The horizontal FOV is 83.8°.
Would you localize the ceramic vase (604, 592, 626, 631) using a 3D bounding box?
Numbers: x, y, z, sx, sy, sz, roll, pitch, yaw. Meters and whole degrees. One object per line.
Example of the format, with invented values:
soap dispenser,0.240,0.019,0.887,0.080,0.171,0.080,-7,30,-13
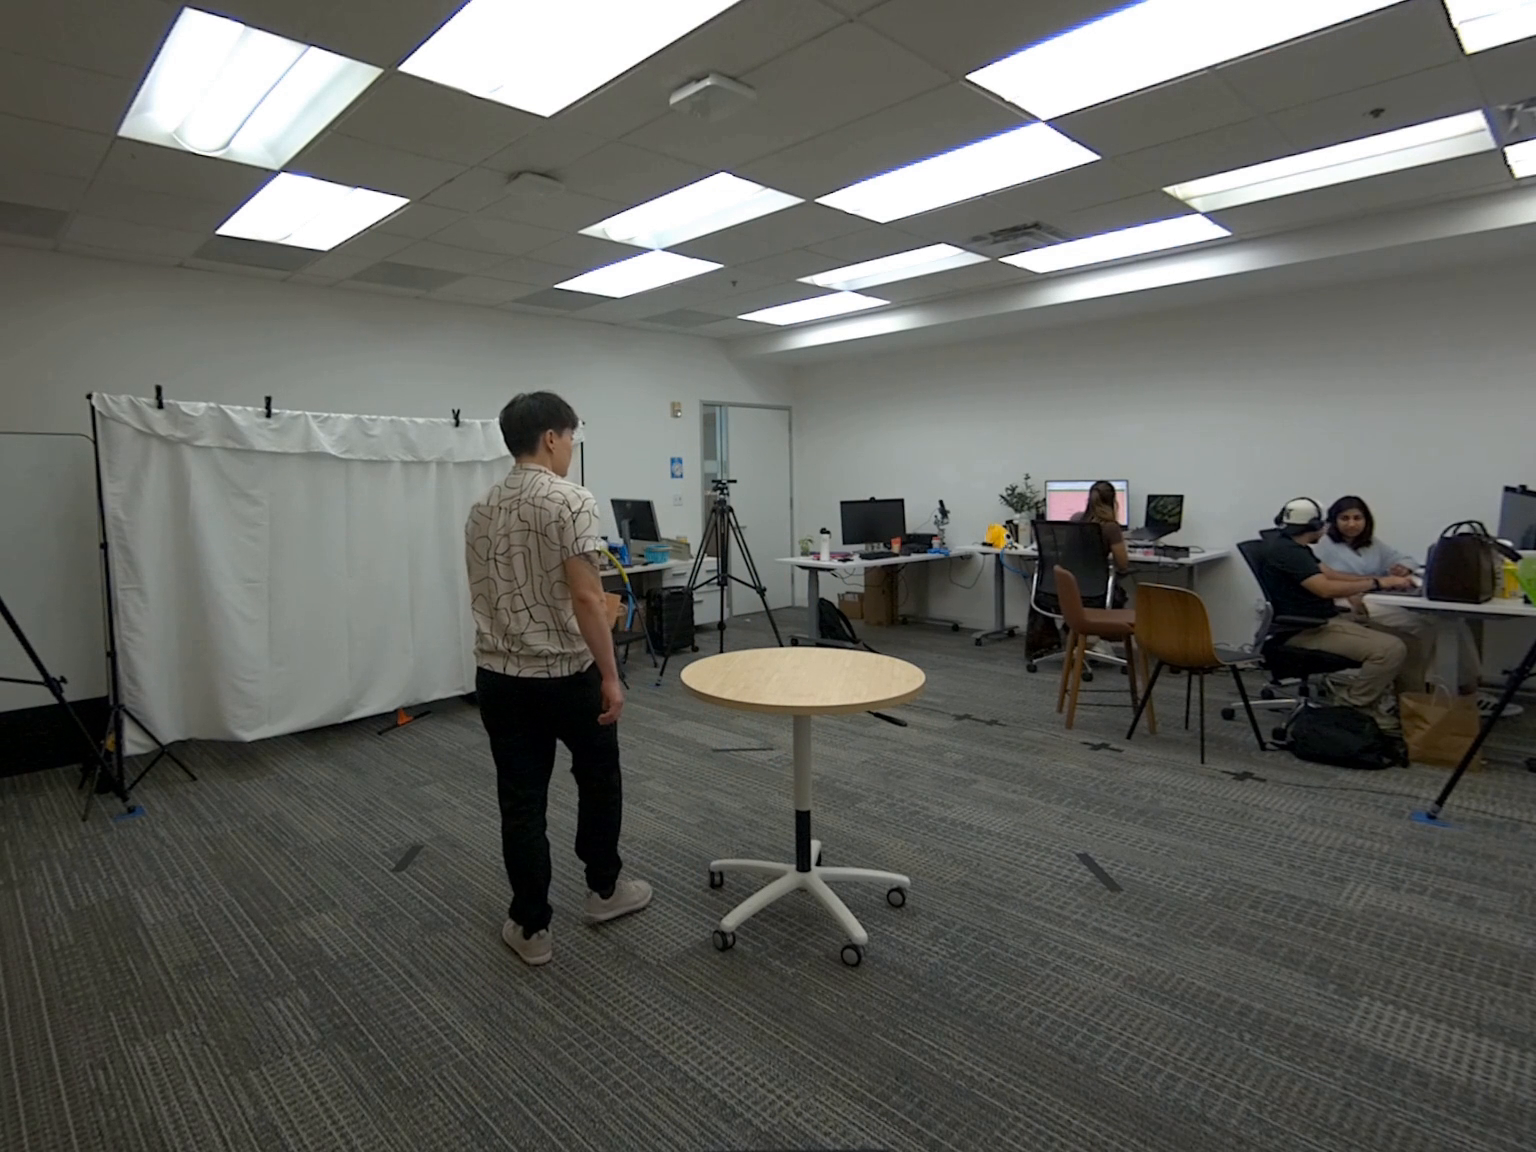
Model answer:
ceramic vase,-0.577,0.162,2.886,0.163,0.220,0.131,8,-4,25
